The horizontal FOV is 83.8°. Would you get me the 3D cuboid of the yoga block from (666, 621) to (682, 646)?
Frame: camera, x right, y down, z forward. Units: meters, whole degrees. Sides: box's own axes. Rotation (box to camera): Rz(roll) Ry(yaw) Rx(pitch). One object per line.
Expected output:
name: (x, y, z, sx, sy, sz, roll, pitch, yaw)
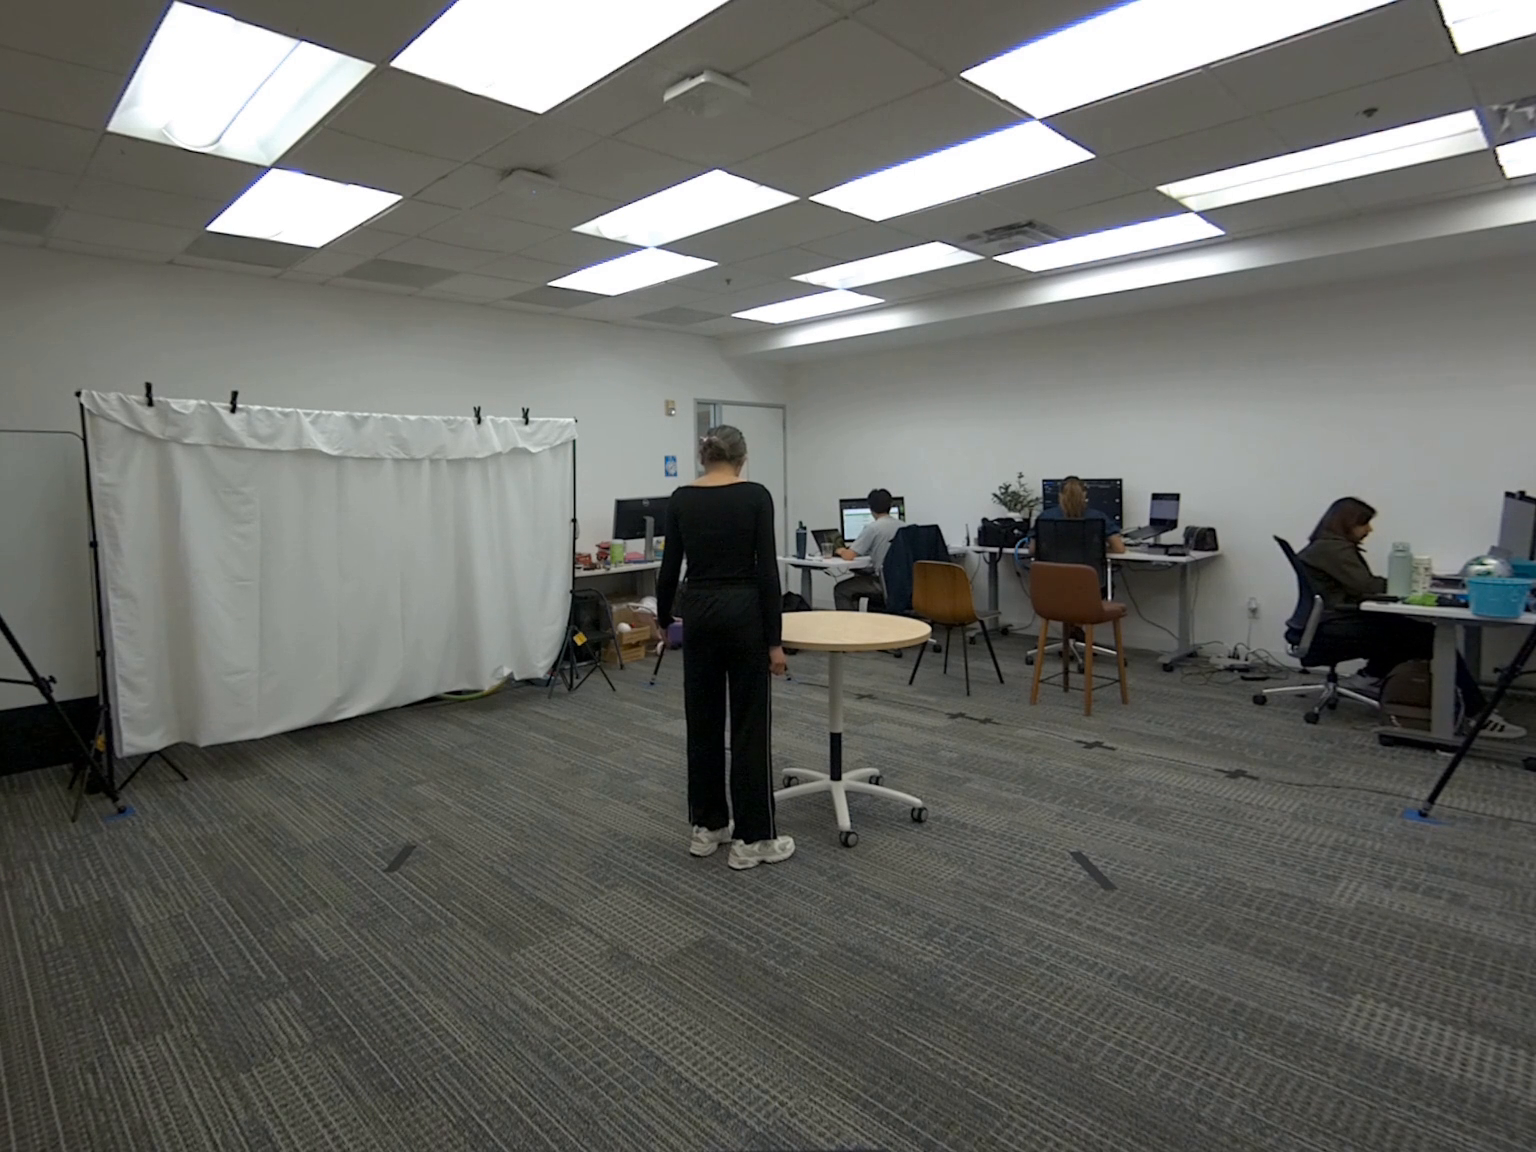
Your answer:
yoga block: (-0.332, 0.226, 3.474, 0.148, 0.076, 0.231, -3, 1, -10)
